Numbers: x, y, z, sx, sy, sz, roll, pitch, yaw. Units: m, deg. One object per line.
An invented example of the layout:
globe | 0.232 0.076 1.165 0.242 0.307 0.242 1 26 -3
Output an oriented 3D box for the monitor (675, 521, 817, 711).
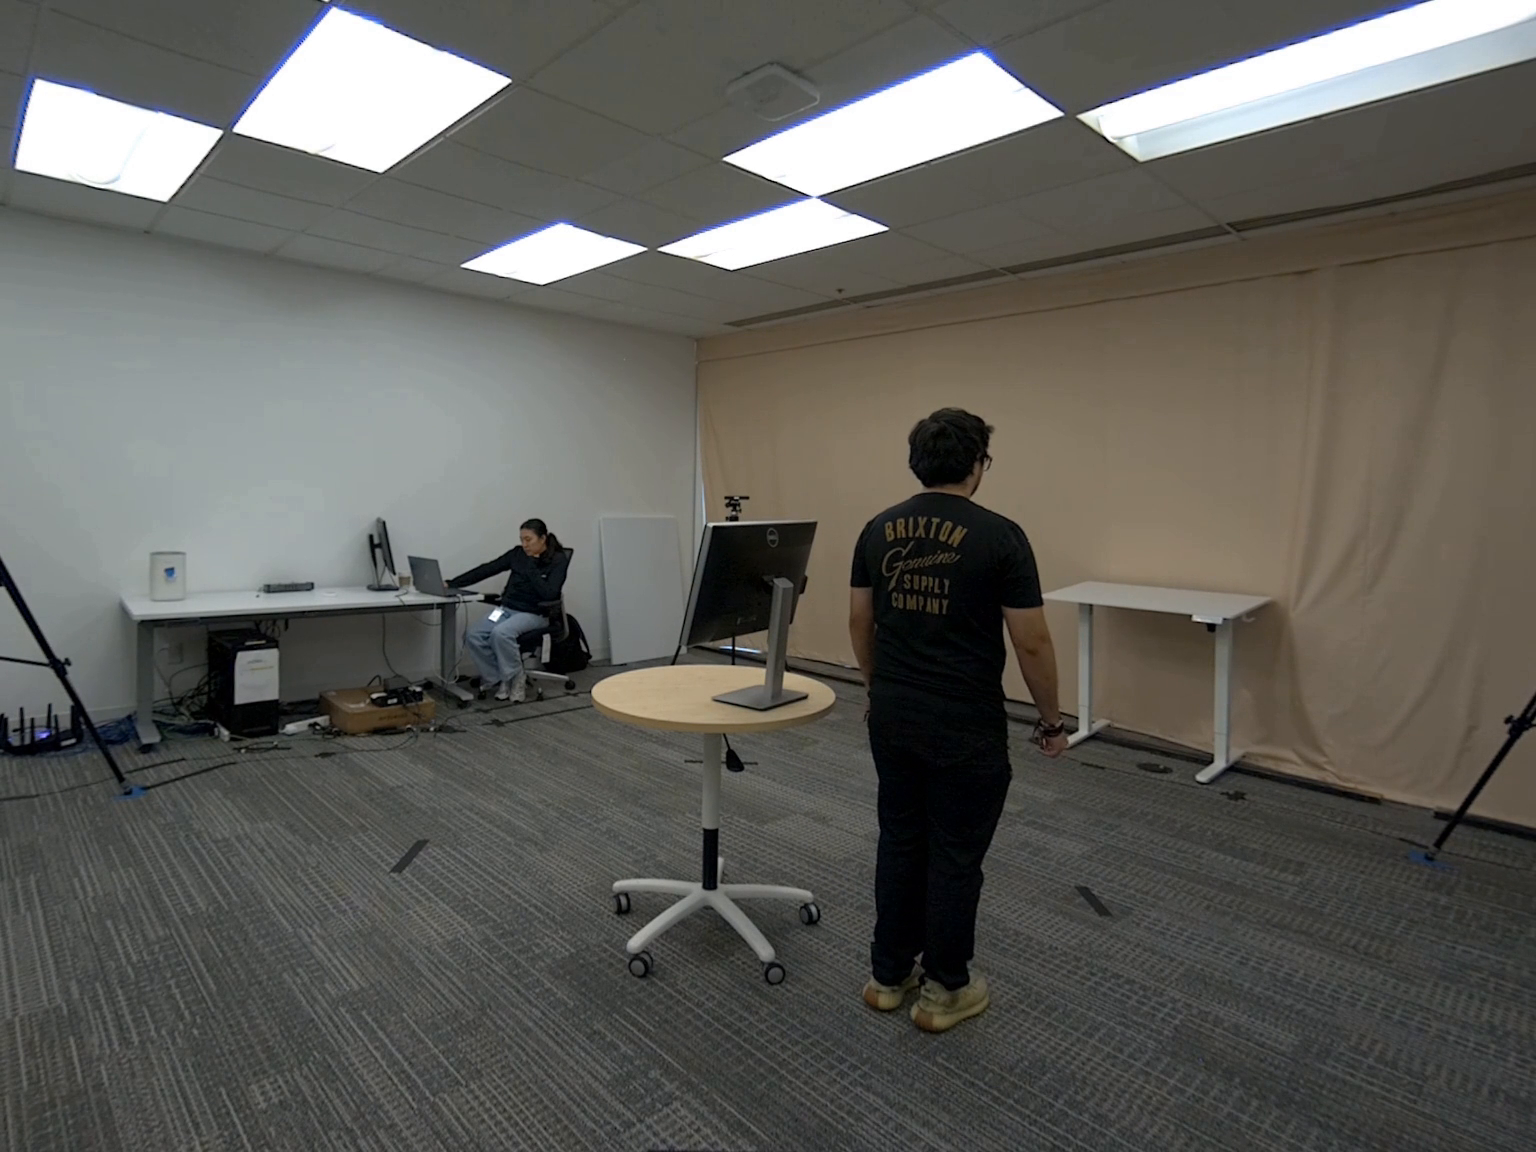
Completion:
monitor | -0.001 0.113 2.529 0.216 0.551 0.553 12 10 35
